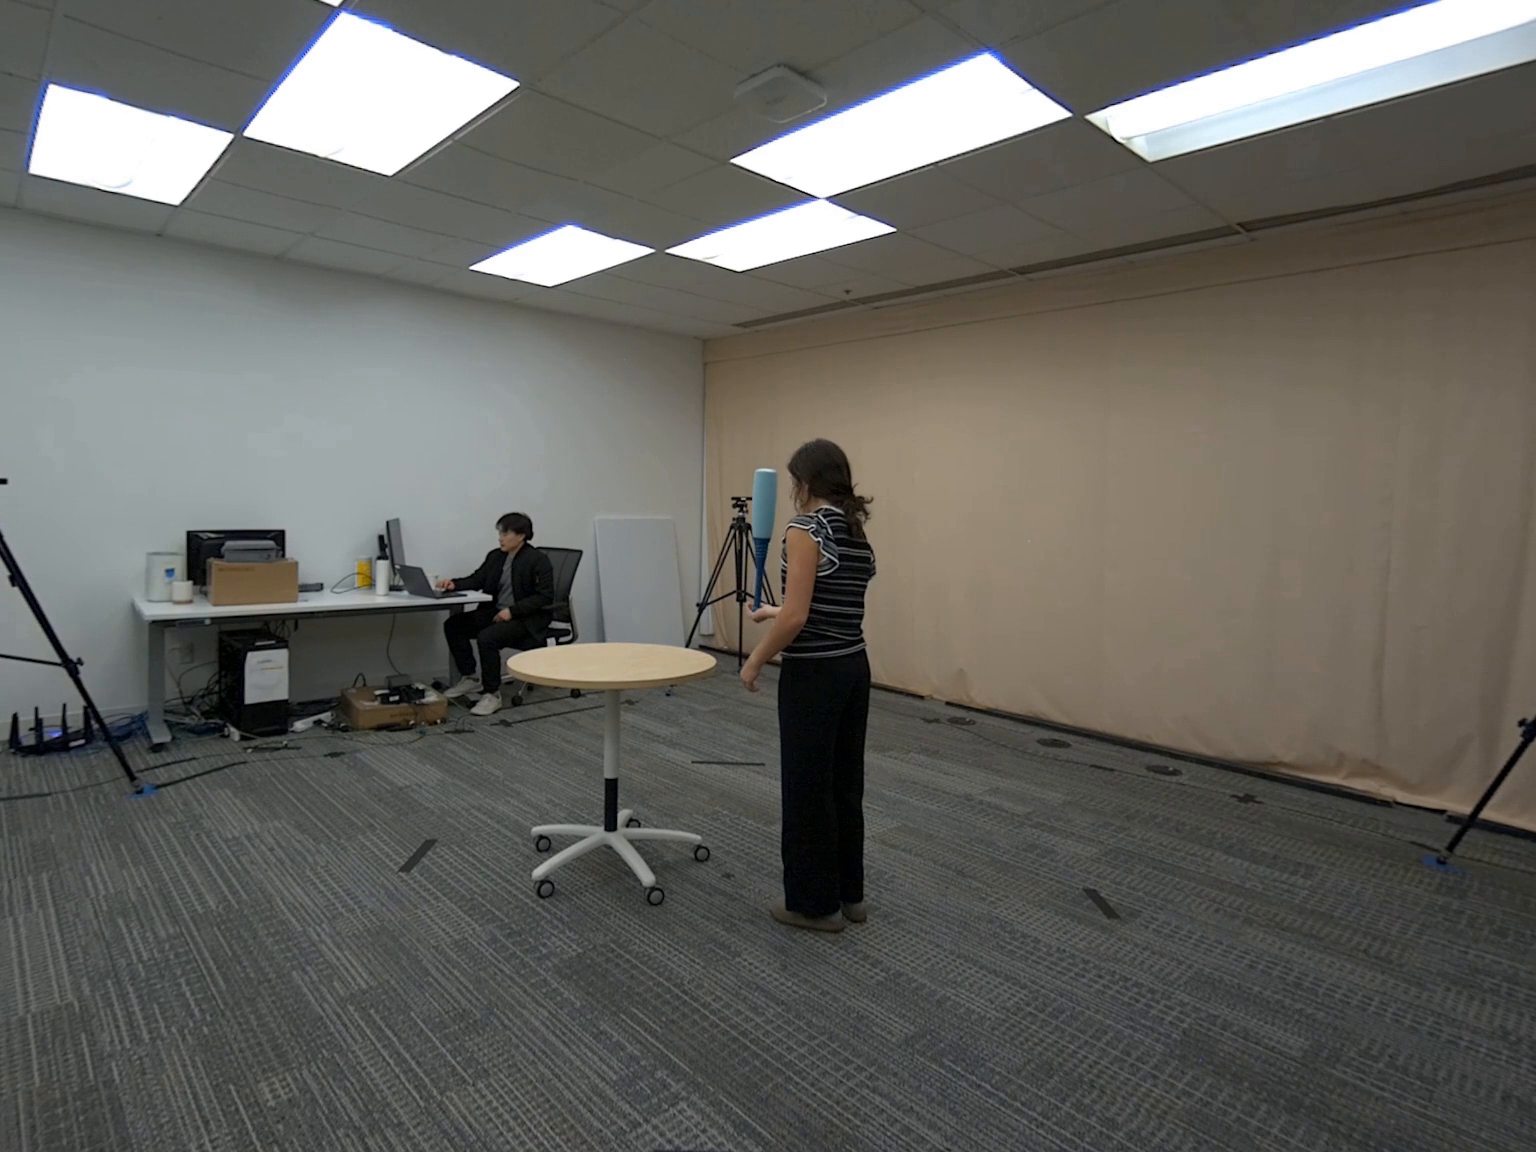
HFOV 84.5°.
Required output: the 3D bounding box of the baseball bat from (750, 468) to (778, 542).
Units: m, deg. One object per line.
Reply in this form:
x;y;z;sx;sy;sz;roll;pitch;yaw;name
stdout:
-0.031;-0.120;3.096;0.089;0.540;0.089;3;7;-2;baseball bat
